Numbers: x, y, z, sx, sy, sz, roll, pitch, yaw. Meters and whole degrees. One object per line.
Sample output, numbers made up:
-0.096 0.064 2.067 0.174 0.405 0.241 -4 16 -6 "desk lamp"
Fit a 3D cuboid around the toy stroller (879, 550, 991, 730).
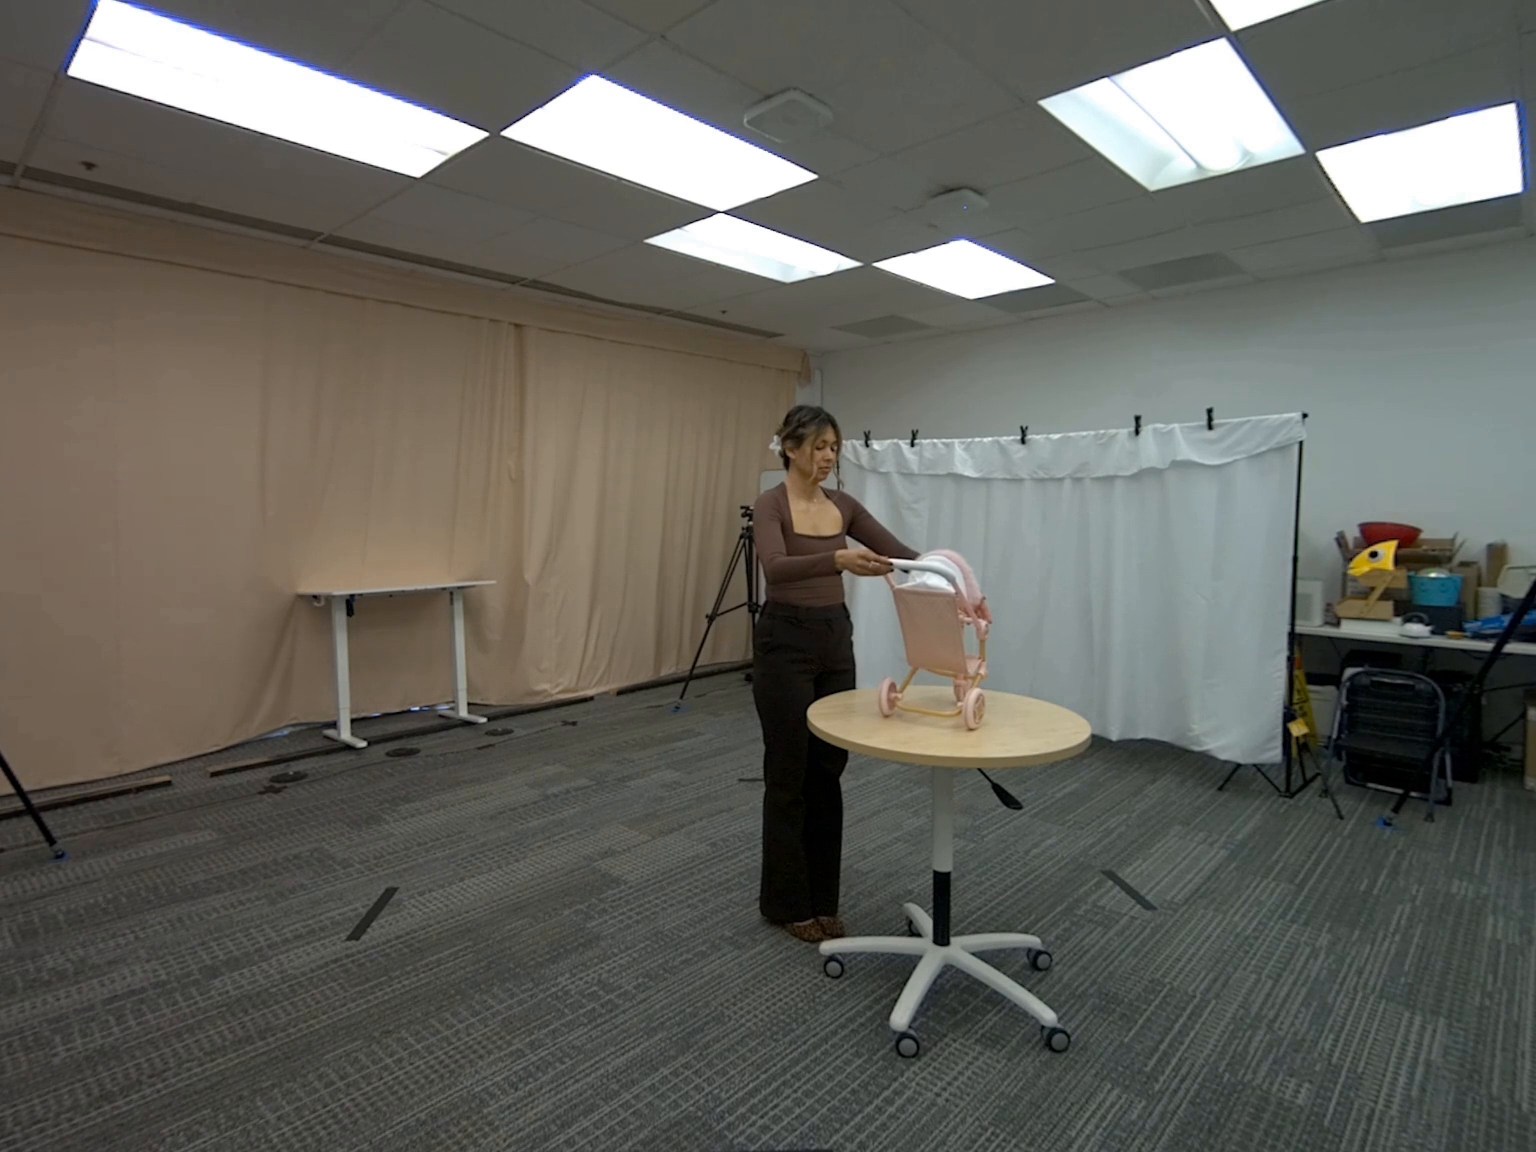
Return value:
0.491 0.170 2.352 0.291 0.529 0.334 3 18 39 "toy stroller"
